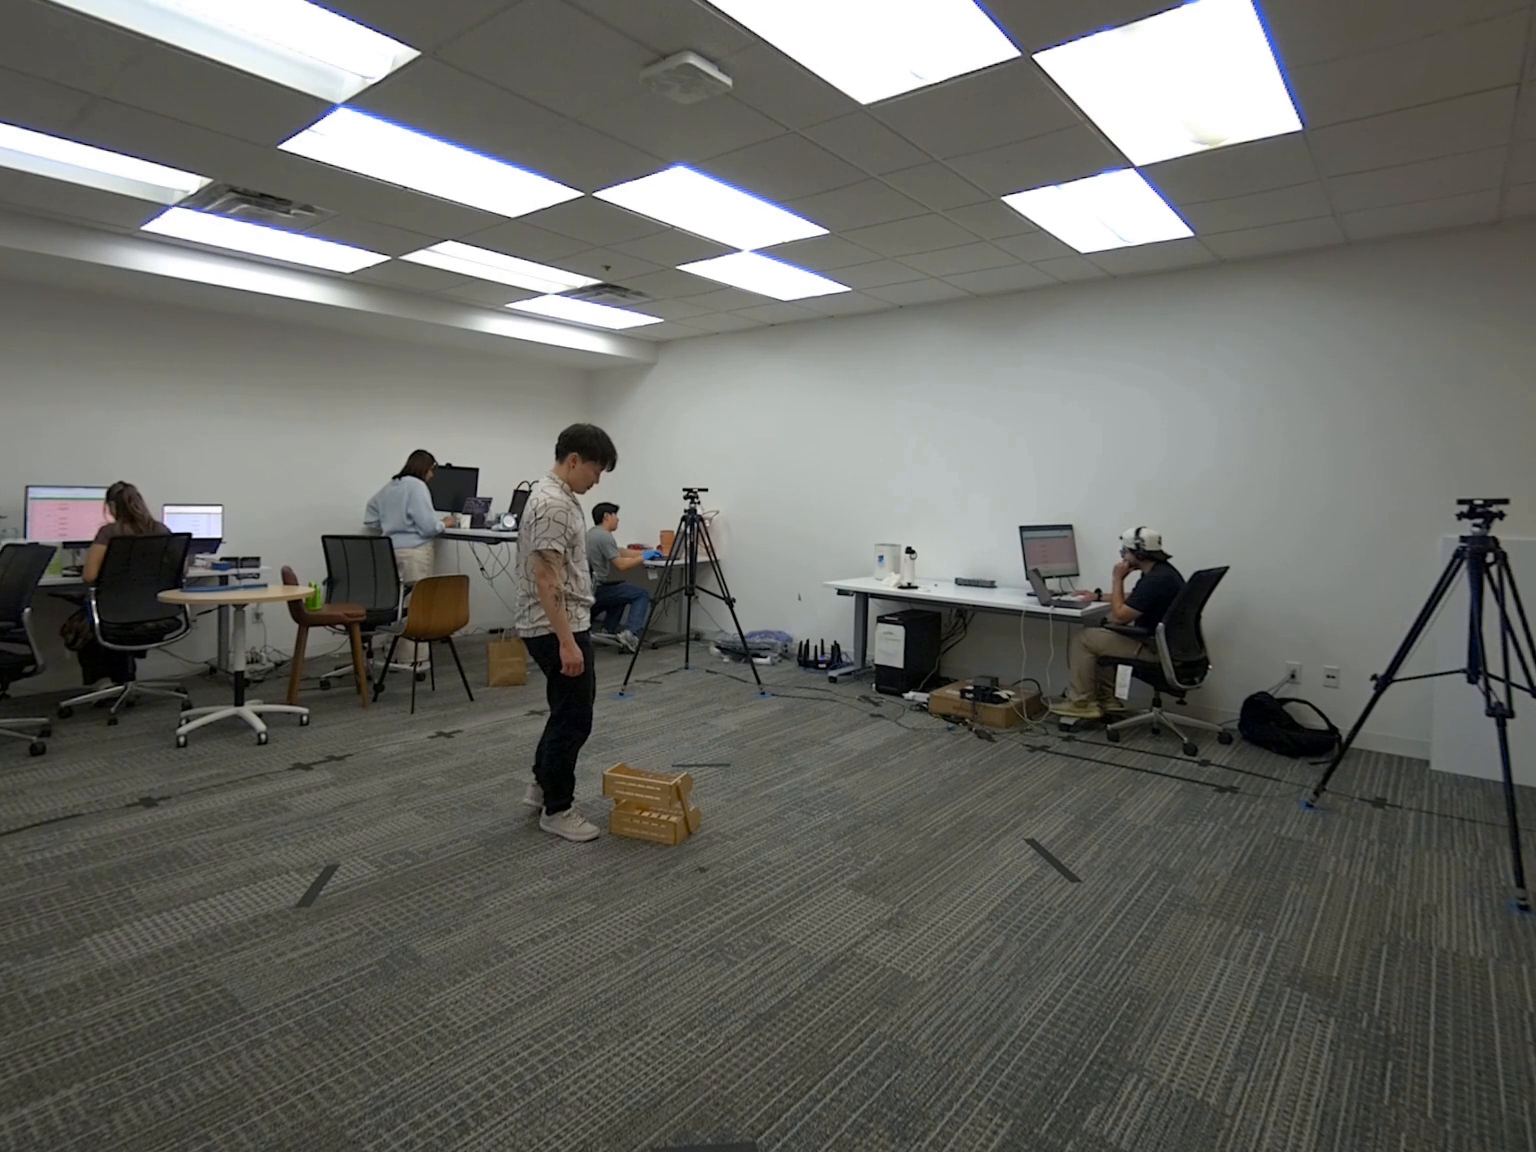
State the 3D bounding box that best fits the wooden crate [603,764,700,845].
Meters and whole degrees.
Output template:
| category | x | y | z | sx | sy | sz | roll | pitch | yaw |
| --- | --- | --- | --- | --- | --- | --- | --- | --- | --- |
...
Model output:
| category | x | y | z | sx | sy | sz | roll | pitch | yaw |
| --- | --- | --- | --- | --- | --- | --- | --- | --- | --- |
| wooden crate | -0.480 | 0.897 | 3.455 | 0.332 | 0.272 | 0.296 | 3 | 5 | 21 |
